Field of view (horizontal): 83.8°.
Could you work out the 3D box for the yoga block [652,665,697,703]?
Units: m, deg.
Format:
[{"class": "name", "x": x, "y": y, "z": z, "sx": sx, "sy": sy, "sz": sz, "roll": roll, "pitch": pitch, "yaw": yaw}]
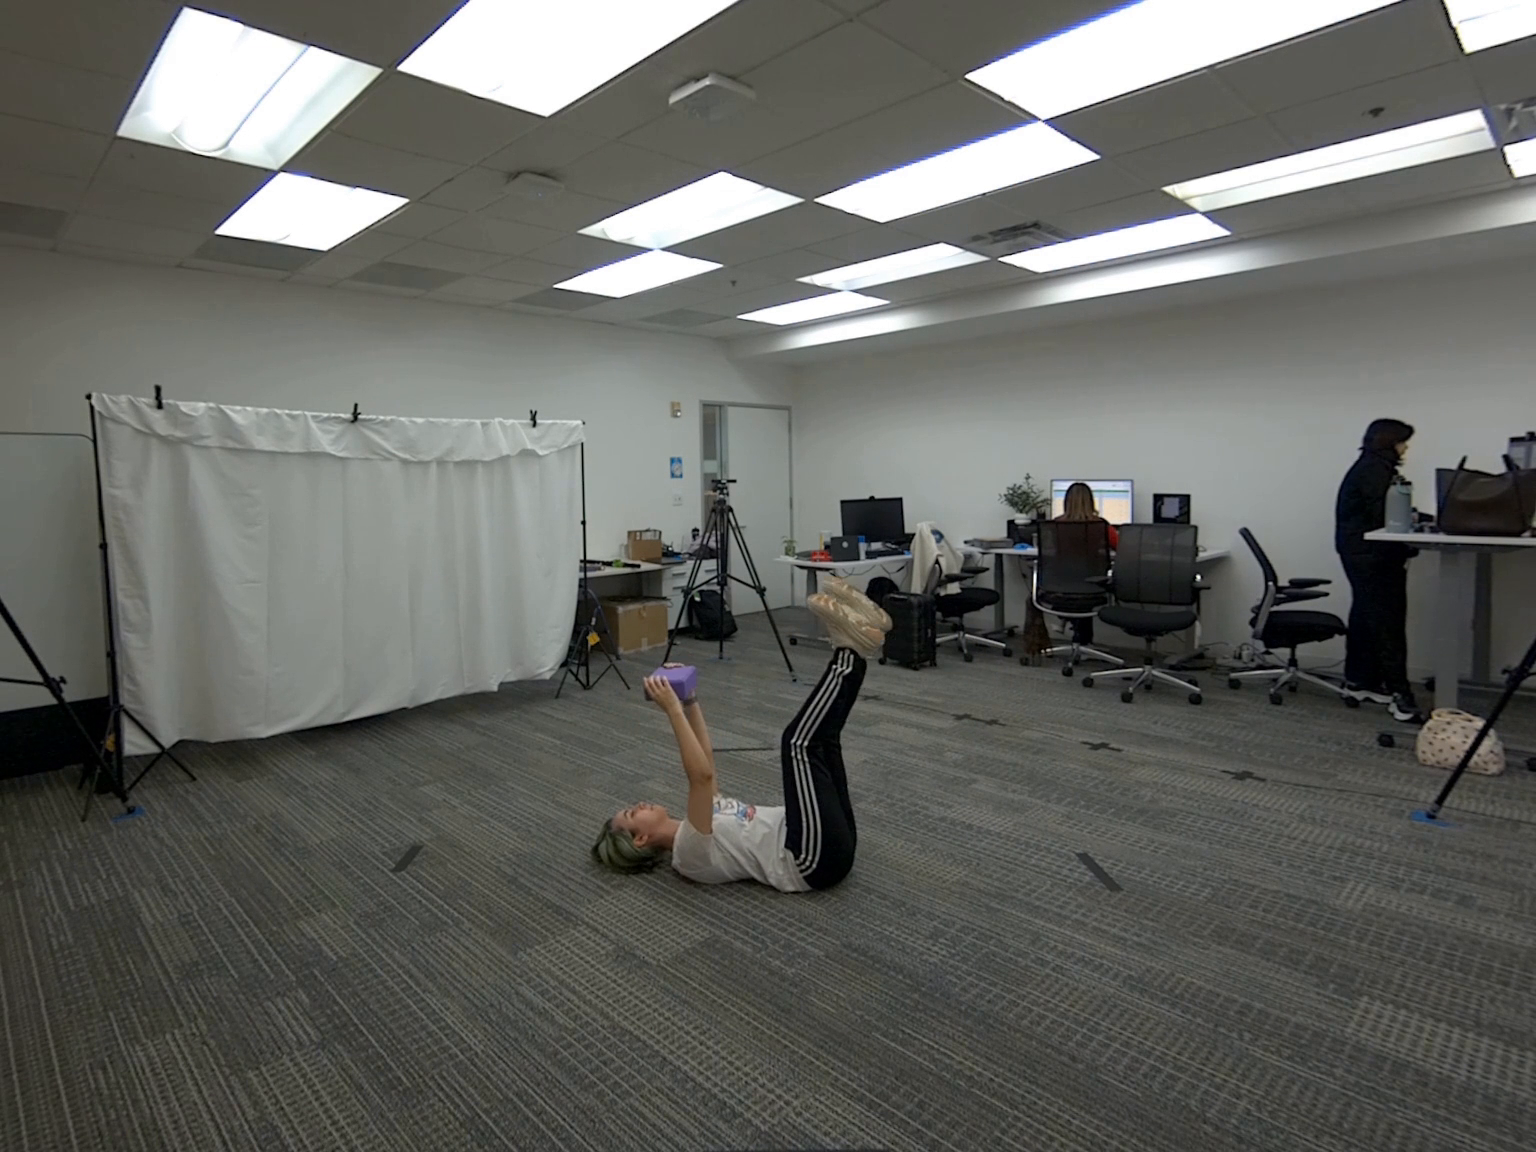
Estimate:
[{"class": "yoga block", "x": -0.357, "y": 0.390, "z": 3.105, "sx": 0.150, "sy": 0.076, "sz": 0.228, "roll": -3, "pitch": 5, "yaw": 7}]
